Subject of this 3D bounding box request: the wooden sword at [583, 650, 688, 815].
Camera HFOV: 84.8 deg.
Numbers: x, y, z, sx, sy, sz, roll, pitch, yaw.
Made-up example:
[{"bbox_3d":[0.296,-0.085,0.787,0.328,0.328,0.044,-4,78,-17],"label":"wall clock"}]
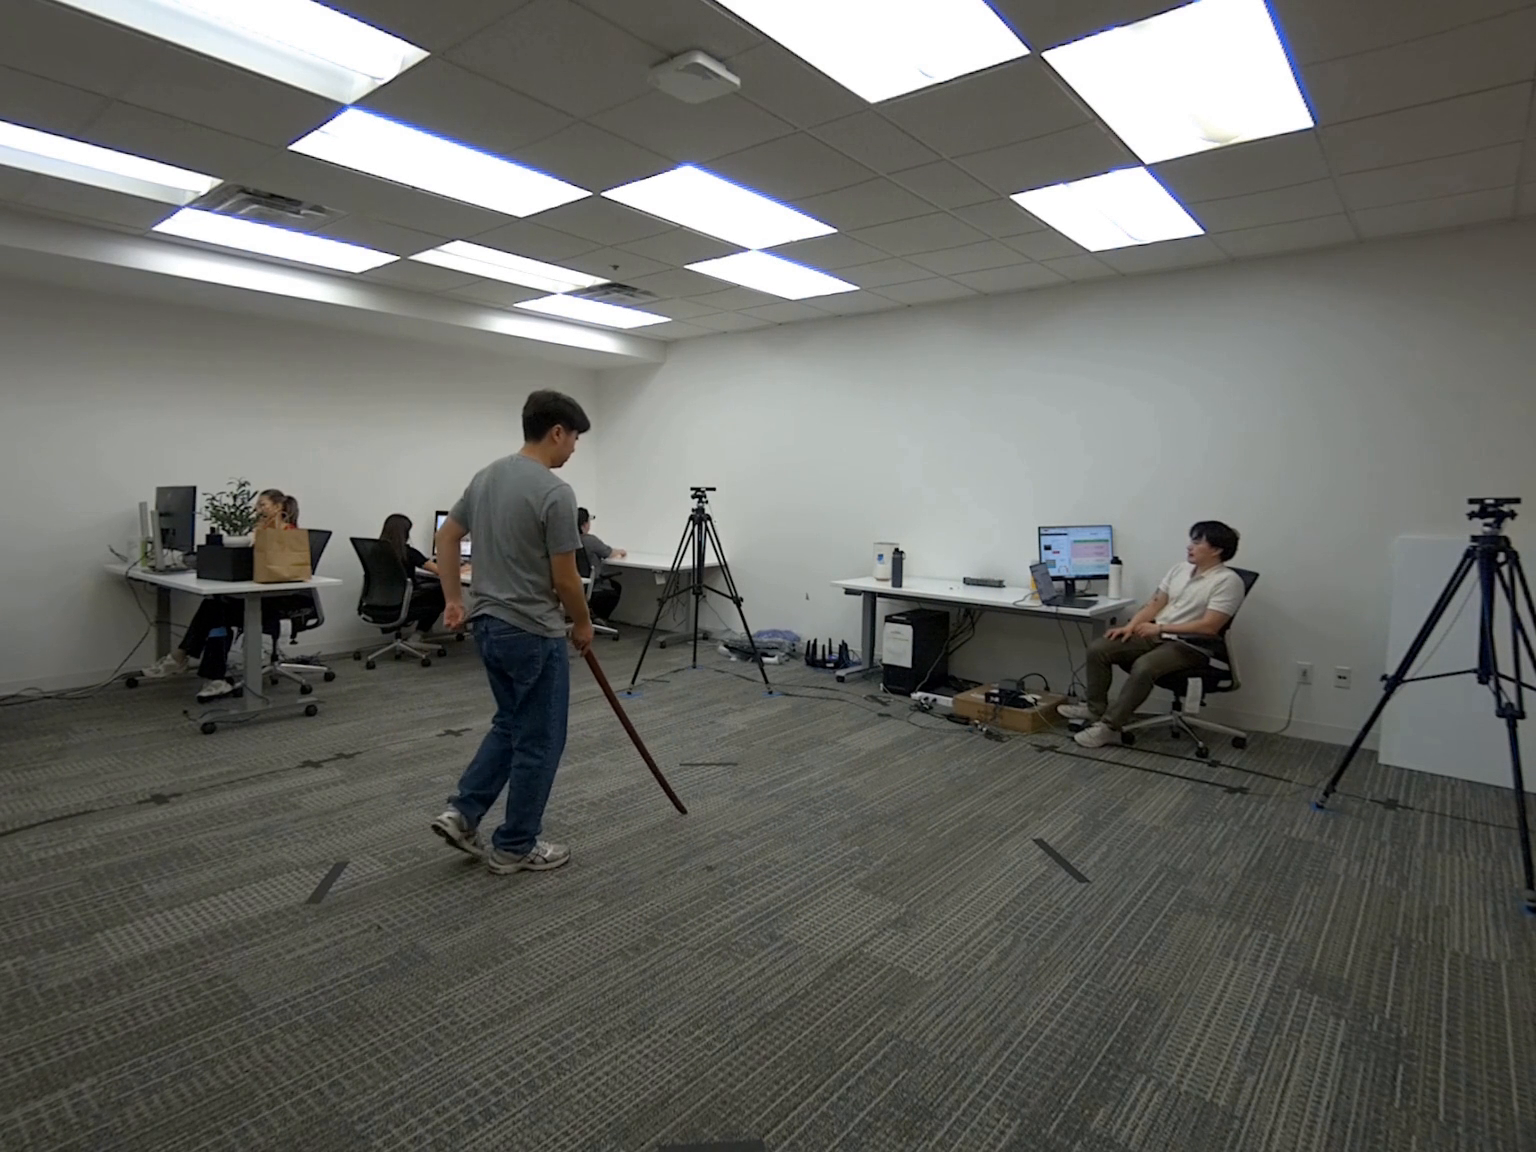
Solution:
[{"bbox_3d":[-0.556,0.622,3.420,0.051,0.992,0.025,-41,32,-29],"label":"wooden sword"}]
